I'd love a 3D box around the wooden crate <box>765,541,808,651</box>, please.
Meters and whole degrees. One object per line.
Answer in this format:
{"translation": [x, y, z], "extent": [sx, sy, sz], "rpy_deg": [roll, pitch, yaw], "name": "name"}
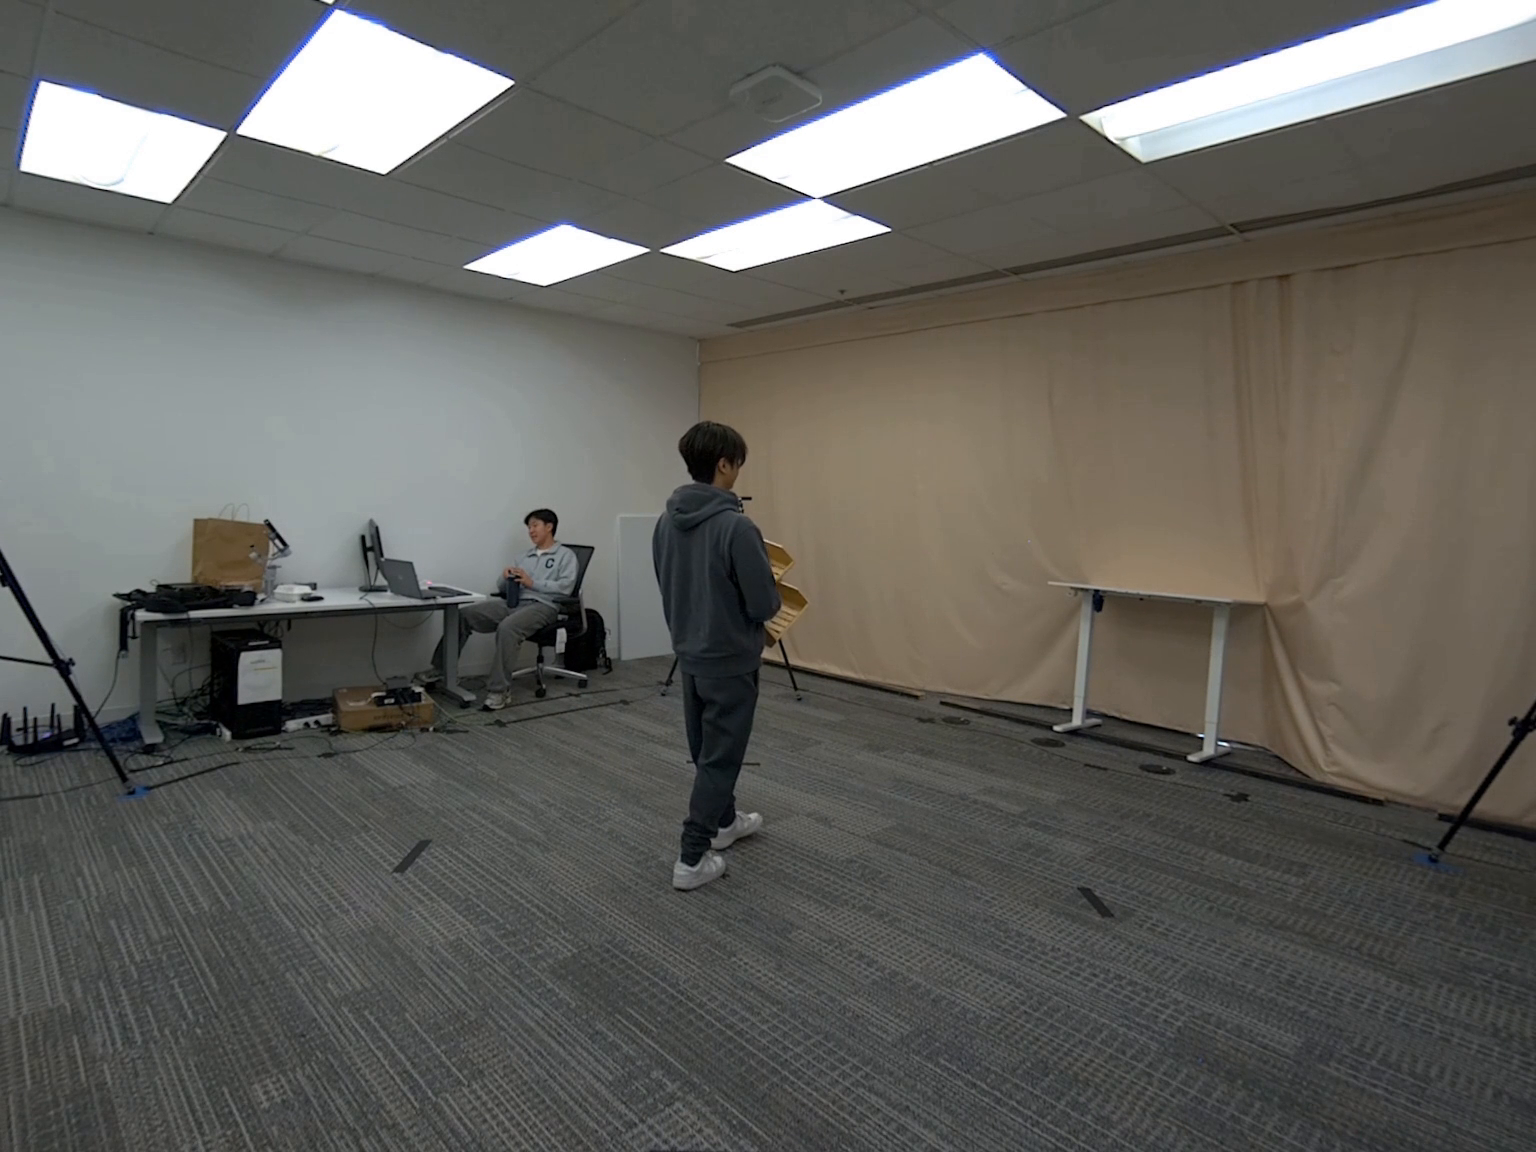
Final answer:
{"translation": [-0.016, 0.057, 3.352], "extent": [0.308, 0.268, 0.323], "rpy_deg": [21, 36, 21], "name": "wooden crate"}
